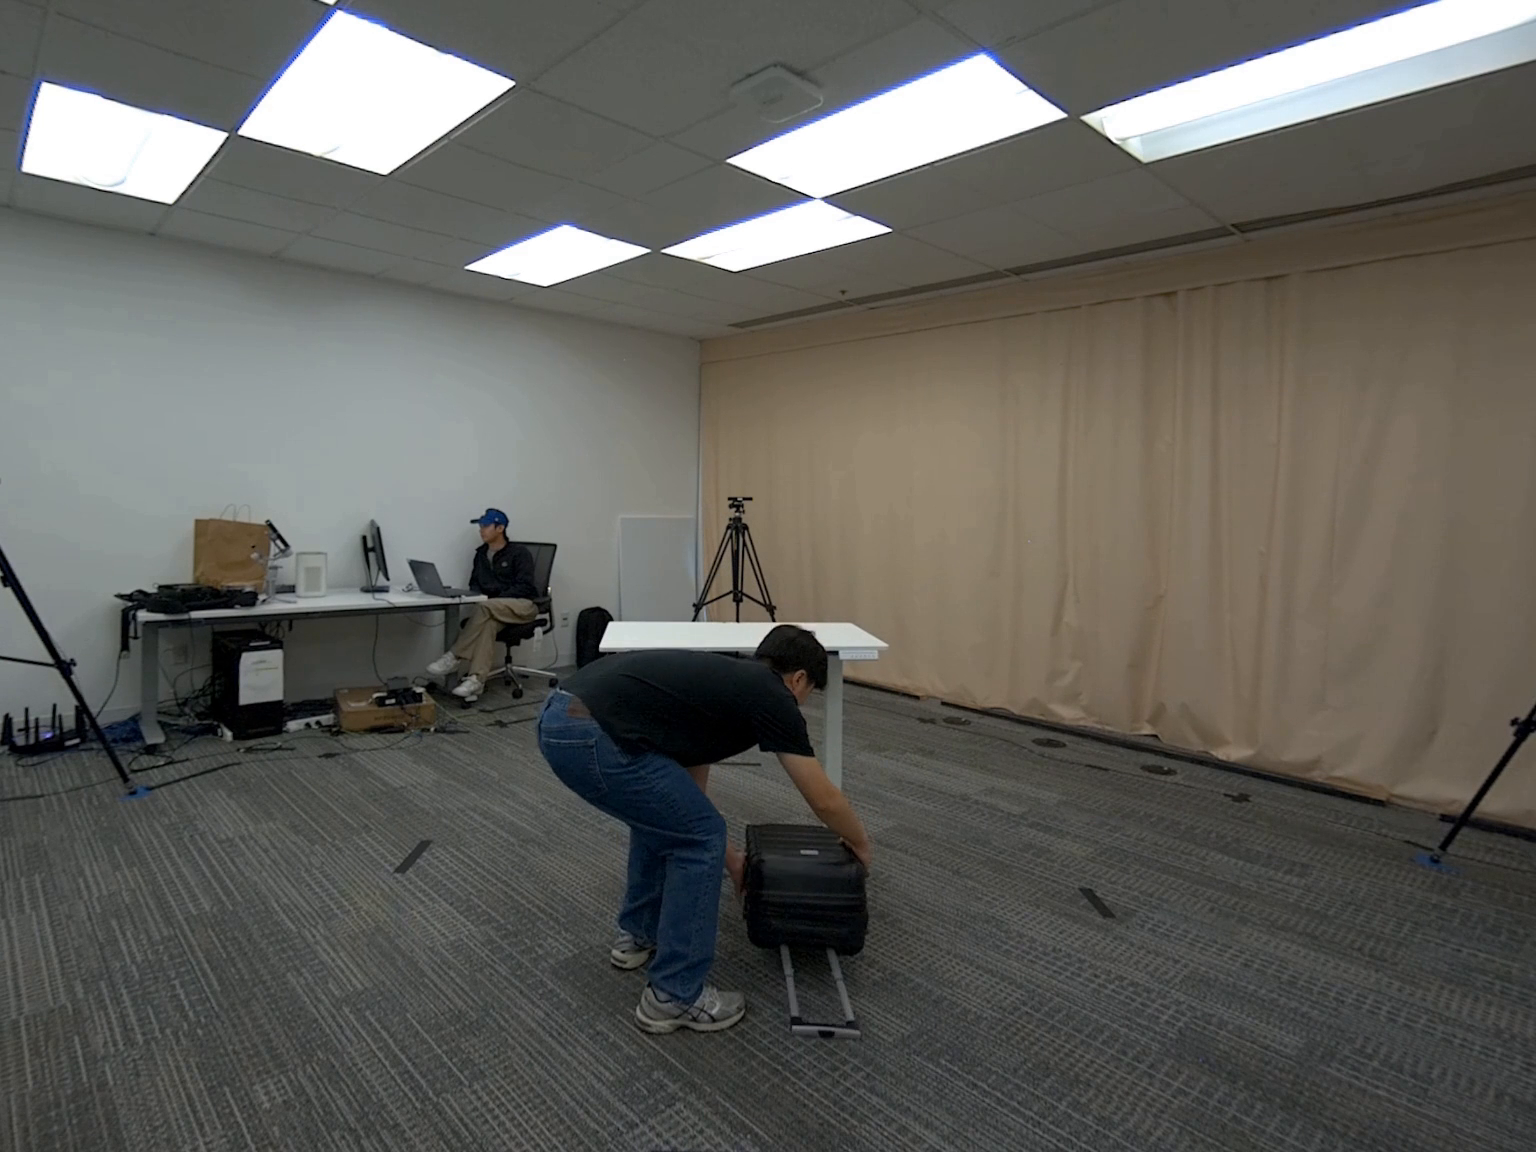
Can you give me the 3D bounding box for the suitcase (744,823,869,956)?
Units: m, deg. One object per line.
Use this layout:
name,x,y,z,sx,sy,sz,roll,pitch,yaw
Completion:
suitcase,0.107,0.944,2.408,0.384,0.258,0.976,3,-3,-2
